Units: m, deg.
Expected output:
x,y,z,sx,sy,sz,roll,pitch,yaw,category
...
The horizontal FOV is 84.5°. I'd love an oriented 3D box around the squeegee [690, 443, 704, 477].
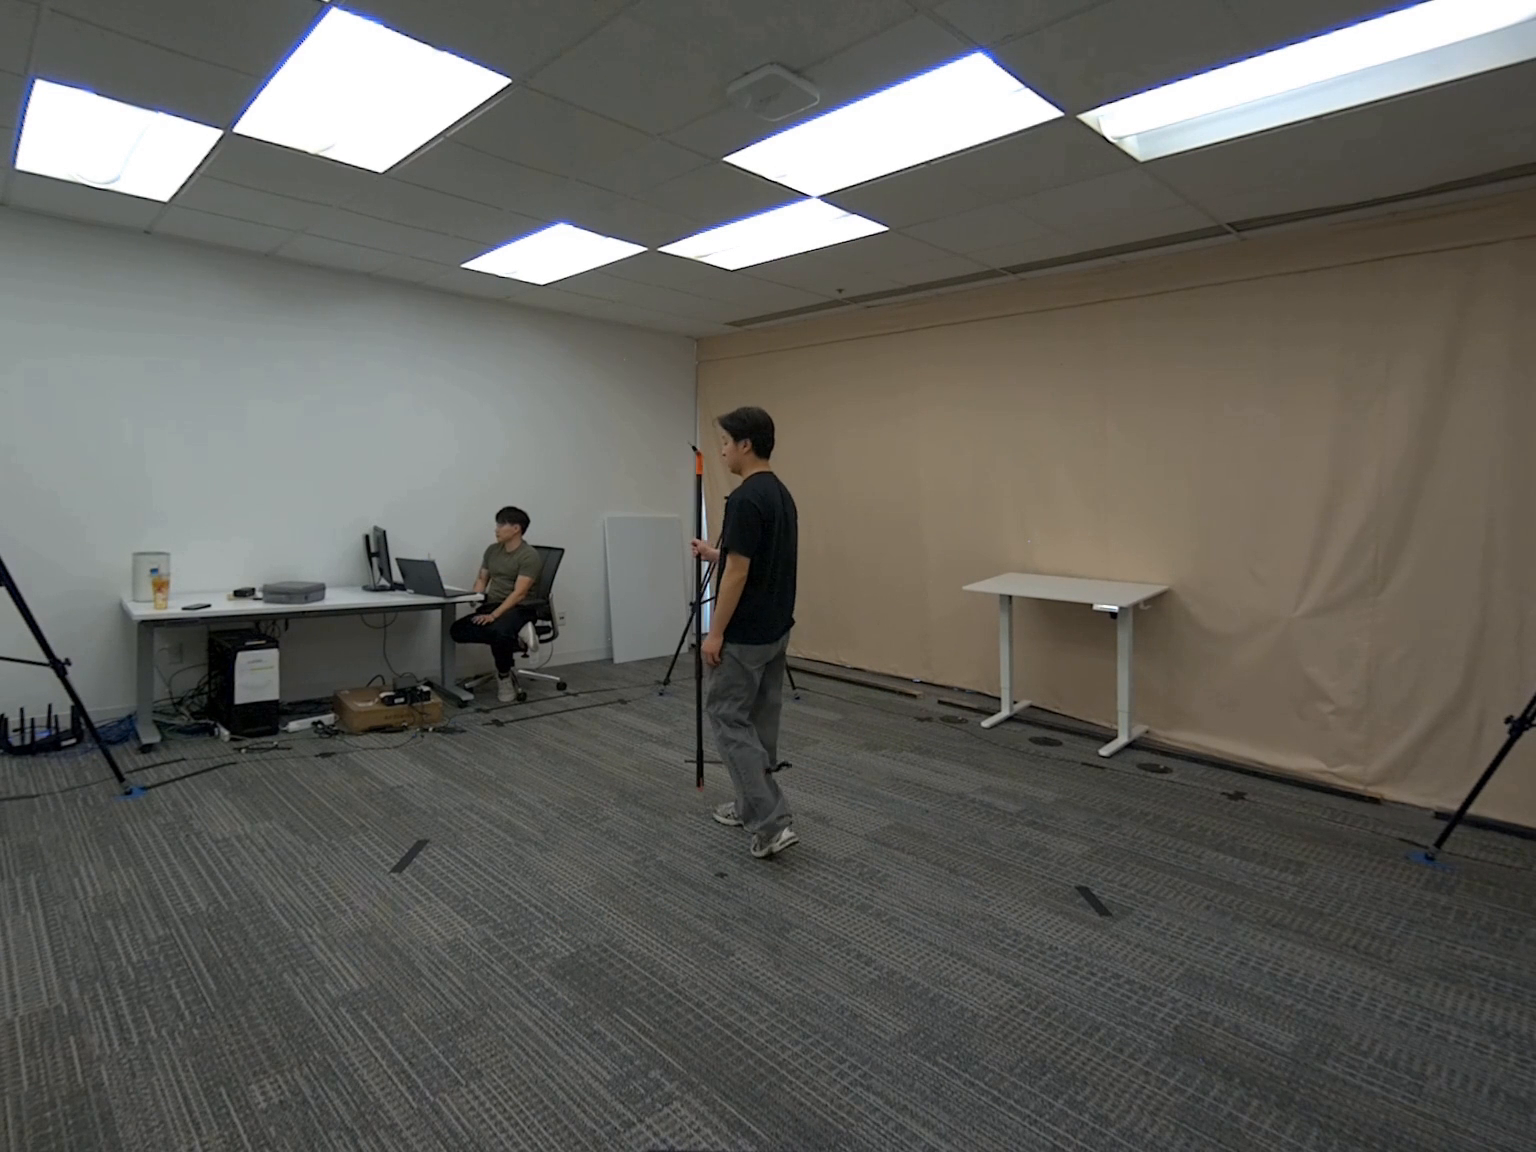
x,y,z,sx,sy,sz,roll,pitch,yaw,category
-0.319,0.195,3.743,0.053,1.536,0.436,0,1,2,squeegee
